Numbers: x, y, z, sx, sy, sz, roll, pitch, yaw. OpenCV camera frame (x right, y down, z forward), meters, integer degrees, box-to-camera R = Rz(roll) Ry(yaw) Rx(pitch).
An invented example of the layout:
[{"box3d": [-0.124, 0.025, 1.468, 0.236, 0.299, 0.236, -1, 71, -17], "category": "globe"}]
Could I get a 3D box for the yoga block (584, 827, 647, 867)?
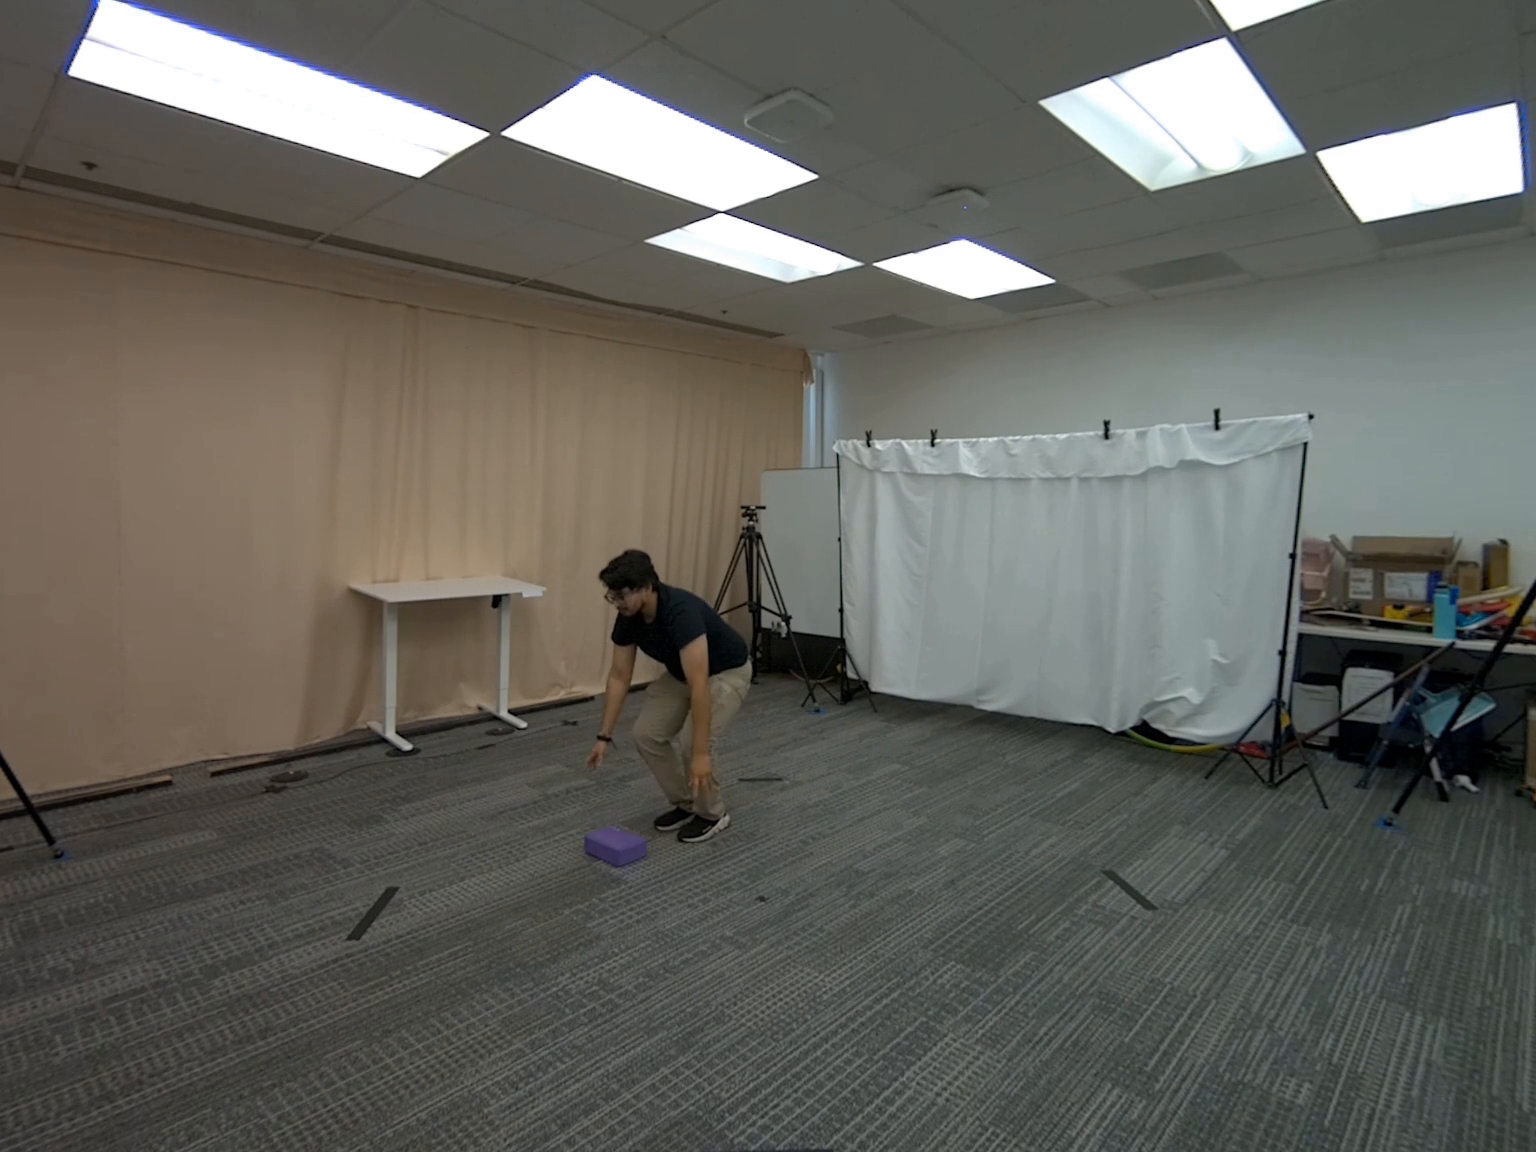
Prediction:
[{"box3d": [-0.611, 1.076, 3.368, 0.237, 0.076, 0.144, 3, 7, 42], "category": "yoga block"}]
